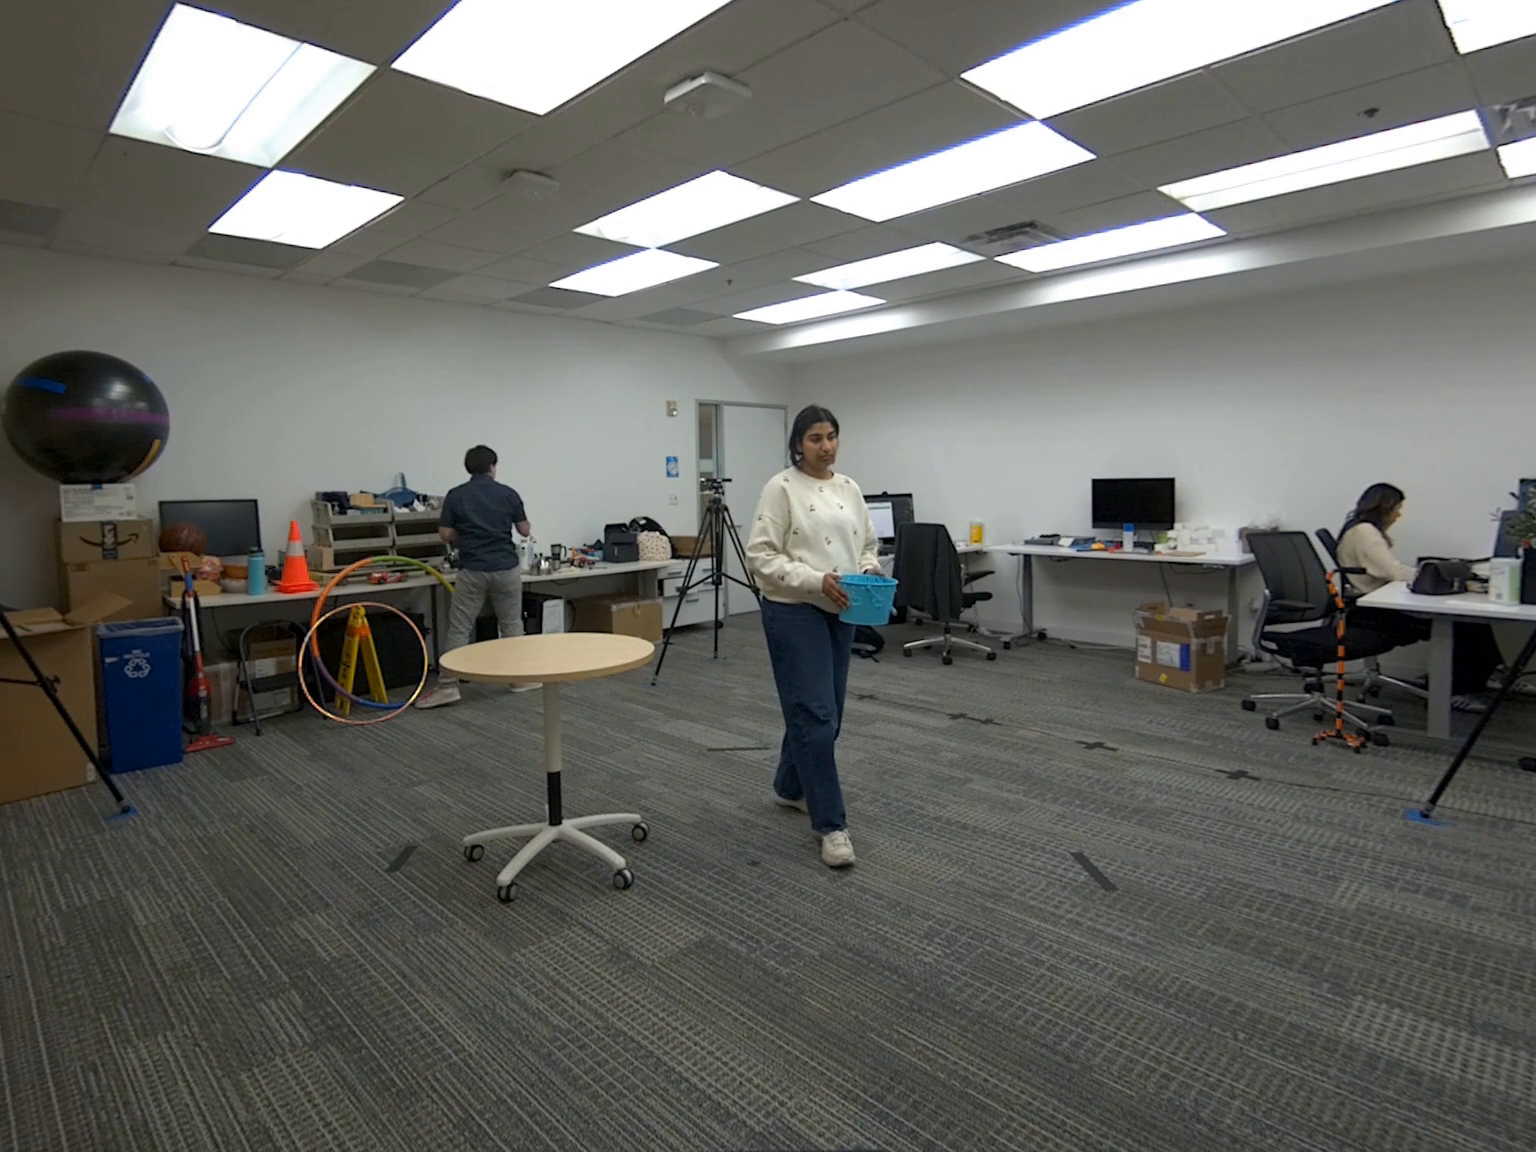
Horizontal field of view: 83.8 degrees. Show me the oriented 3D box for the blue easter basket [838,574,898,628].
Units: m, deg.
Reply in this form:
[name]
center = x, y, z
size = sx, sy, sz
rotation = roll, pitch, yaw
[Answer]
[blue easter basket]
center = 0.356, 0.088, 3.138
size = 0.243, 0.155, 0.245
rotation = 1, 7, -2
